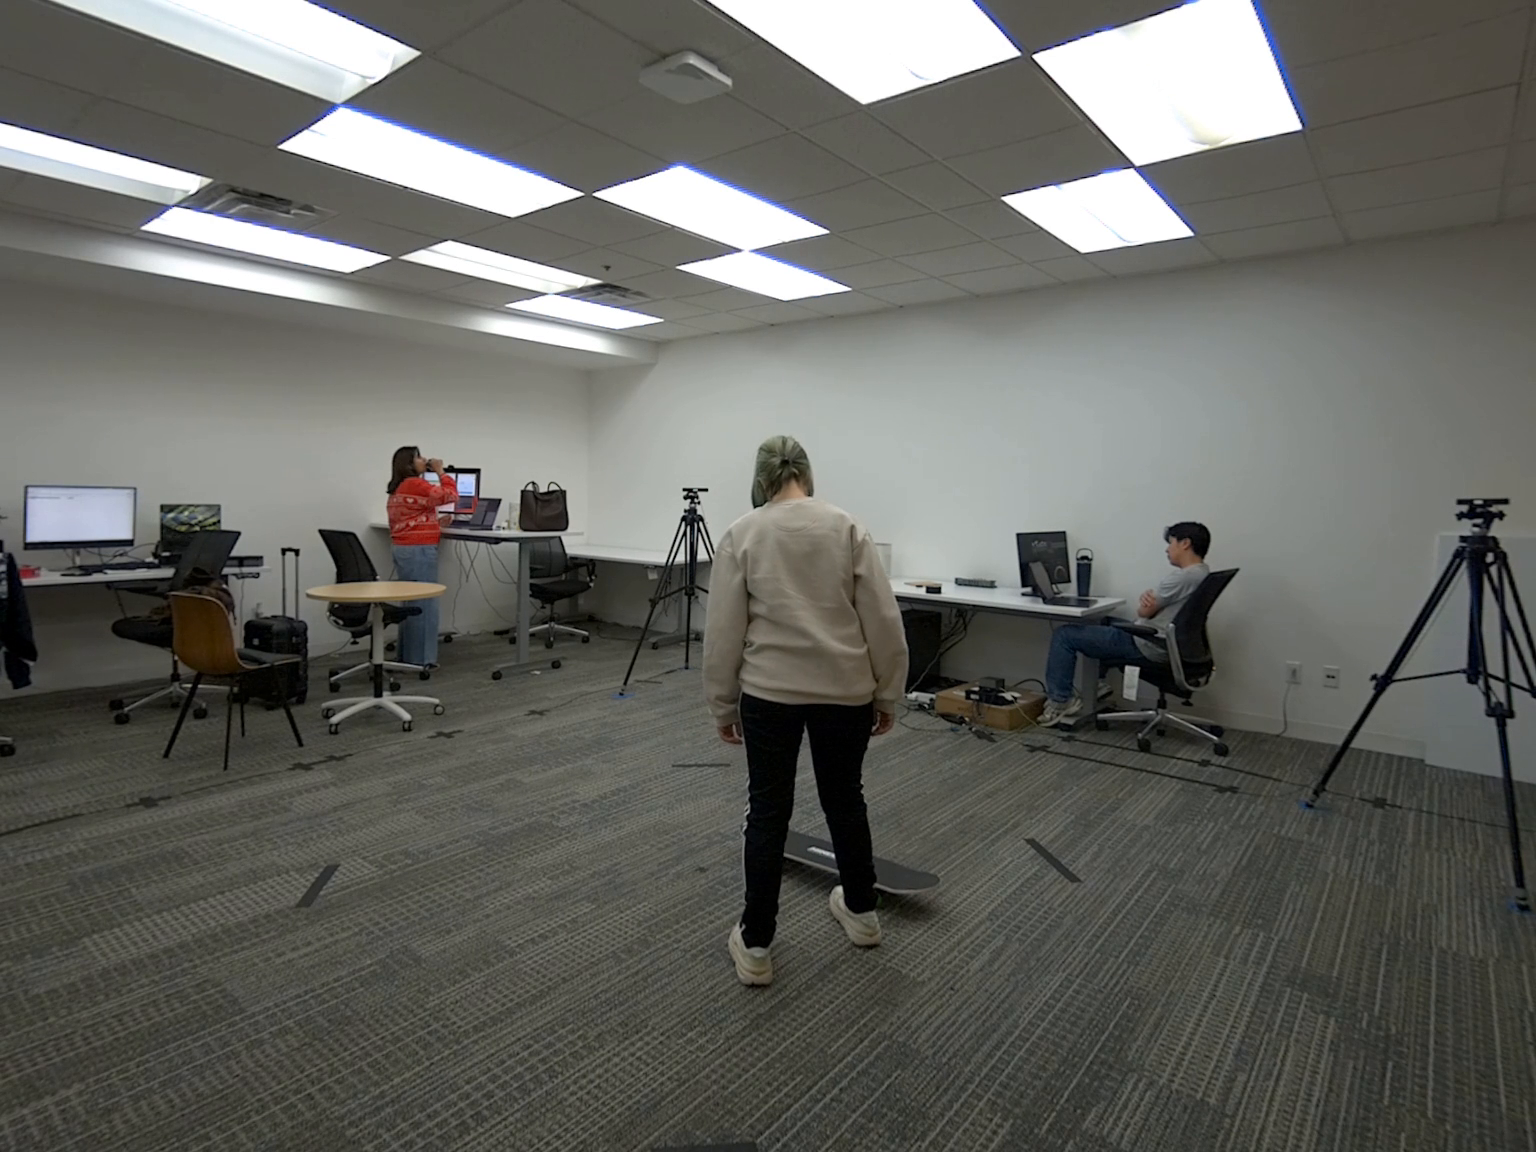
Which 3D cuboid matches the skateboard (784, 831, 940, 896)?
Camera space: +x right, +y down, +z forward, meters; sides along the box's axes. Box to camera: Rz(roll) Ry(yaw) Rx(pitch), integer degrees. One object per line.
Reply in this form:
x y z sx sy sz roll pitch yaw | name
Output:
0.226 1.029 3.037 0.811 0.110 0.188 5 7 36 | skateboard
